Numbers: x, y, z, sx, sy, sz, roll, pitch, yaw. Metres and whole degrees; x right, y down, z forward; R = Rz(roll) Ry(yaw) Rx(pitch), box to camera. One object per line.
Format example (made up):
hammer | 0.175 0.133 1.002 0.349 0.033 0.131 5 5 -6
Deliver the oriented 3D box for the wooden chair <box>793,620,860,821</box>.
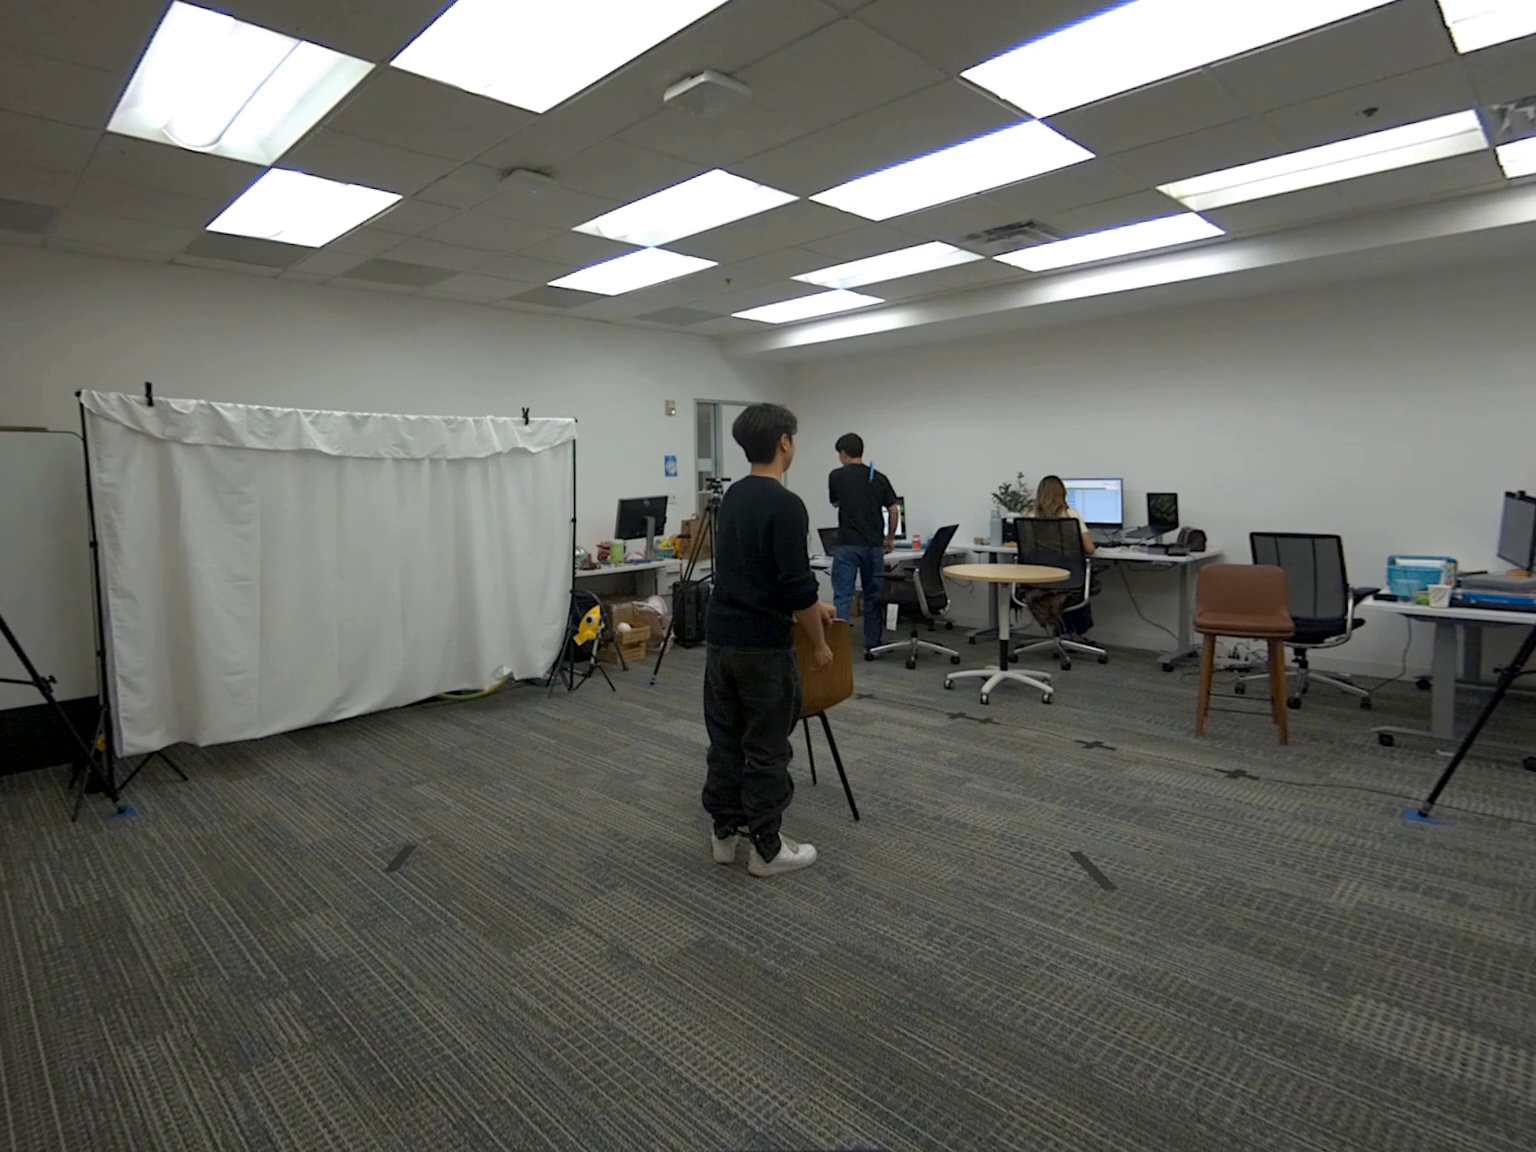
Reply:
wooden chair | 0.078 0.555 3.598 0.470 0.871 0.536 -2 9 -19
